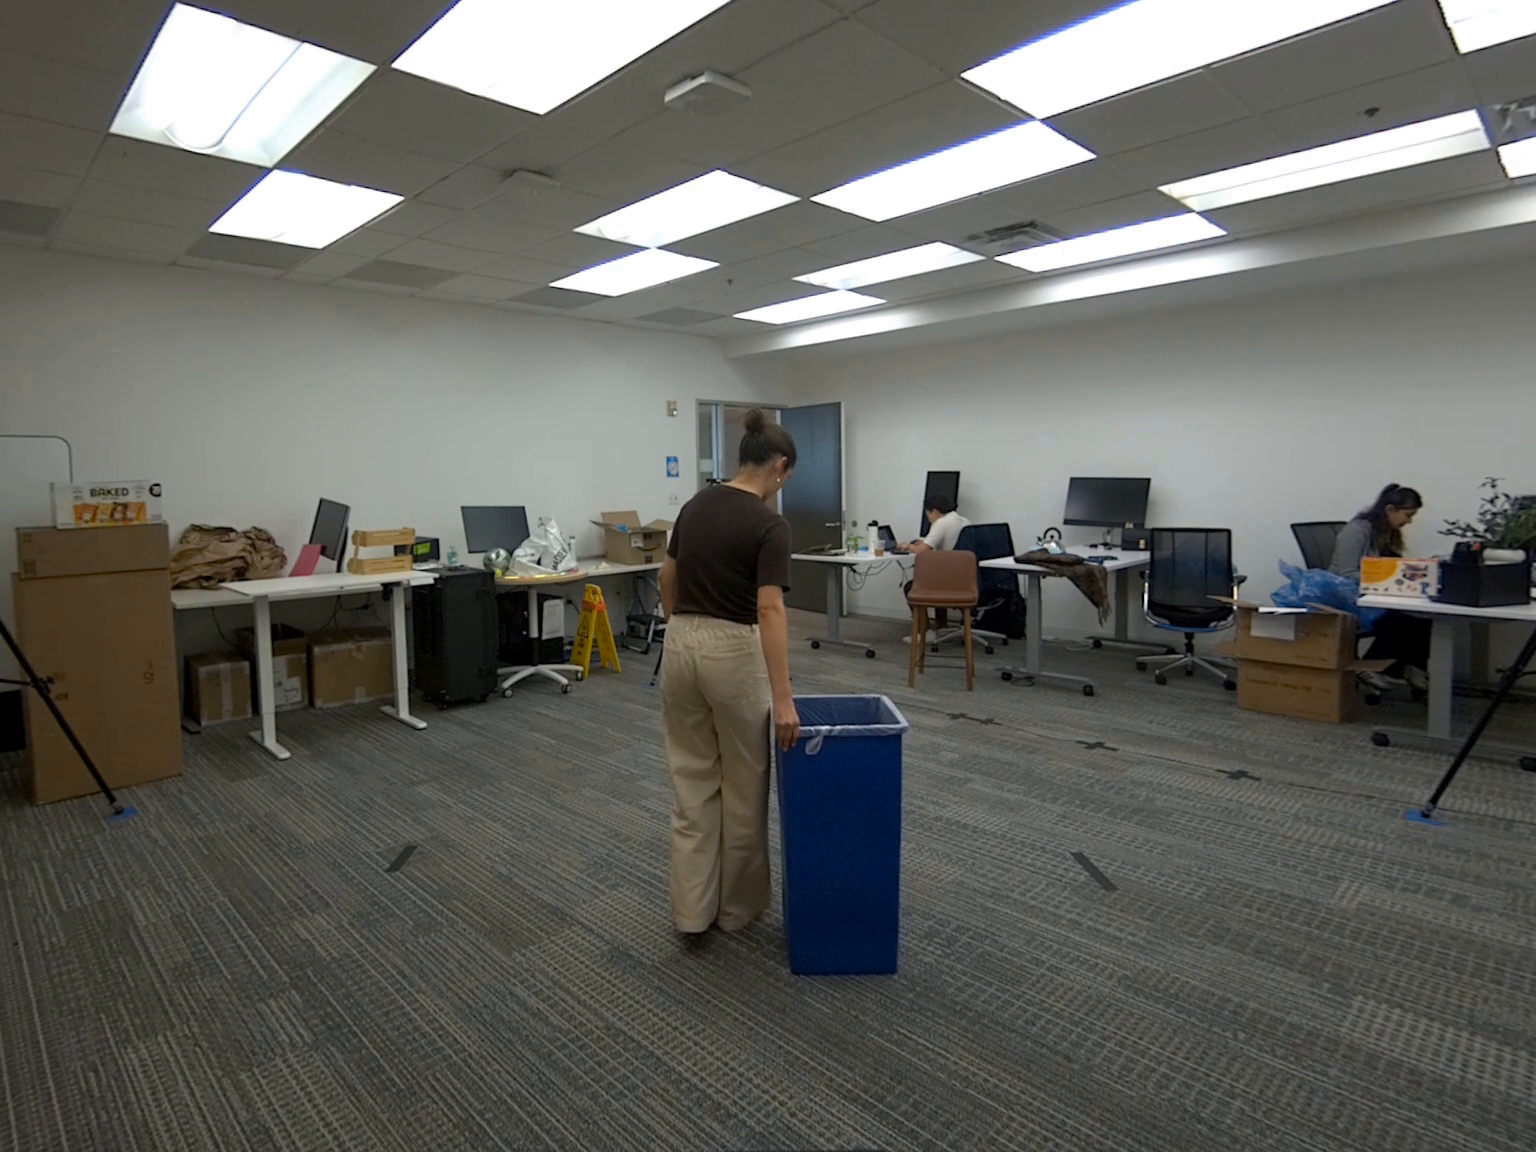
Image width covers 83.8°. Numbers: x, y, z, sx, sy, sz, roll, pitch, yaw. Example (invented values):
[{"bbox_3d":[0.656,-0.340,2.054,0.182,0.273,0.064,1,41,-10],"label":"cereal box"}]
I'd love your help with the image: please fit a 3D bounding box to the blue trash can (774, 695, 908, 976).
[{"bbox_3d":[0.213,0.750,2.525,0.374,0.711,0.379,-2,3,-2],"label":"blue trash can"}]
